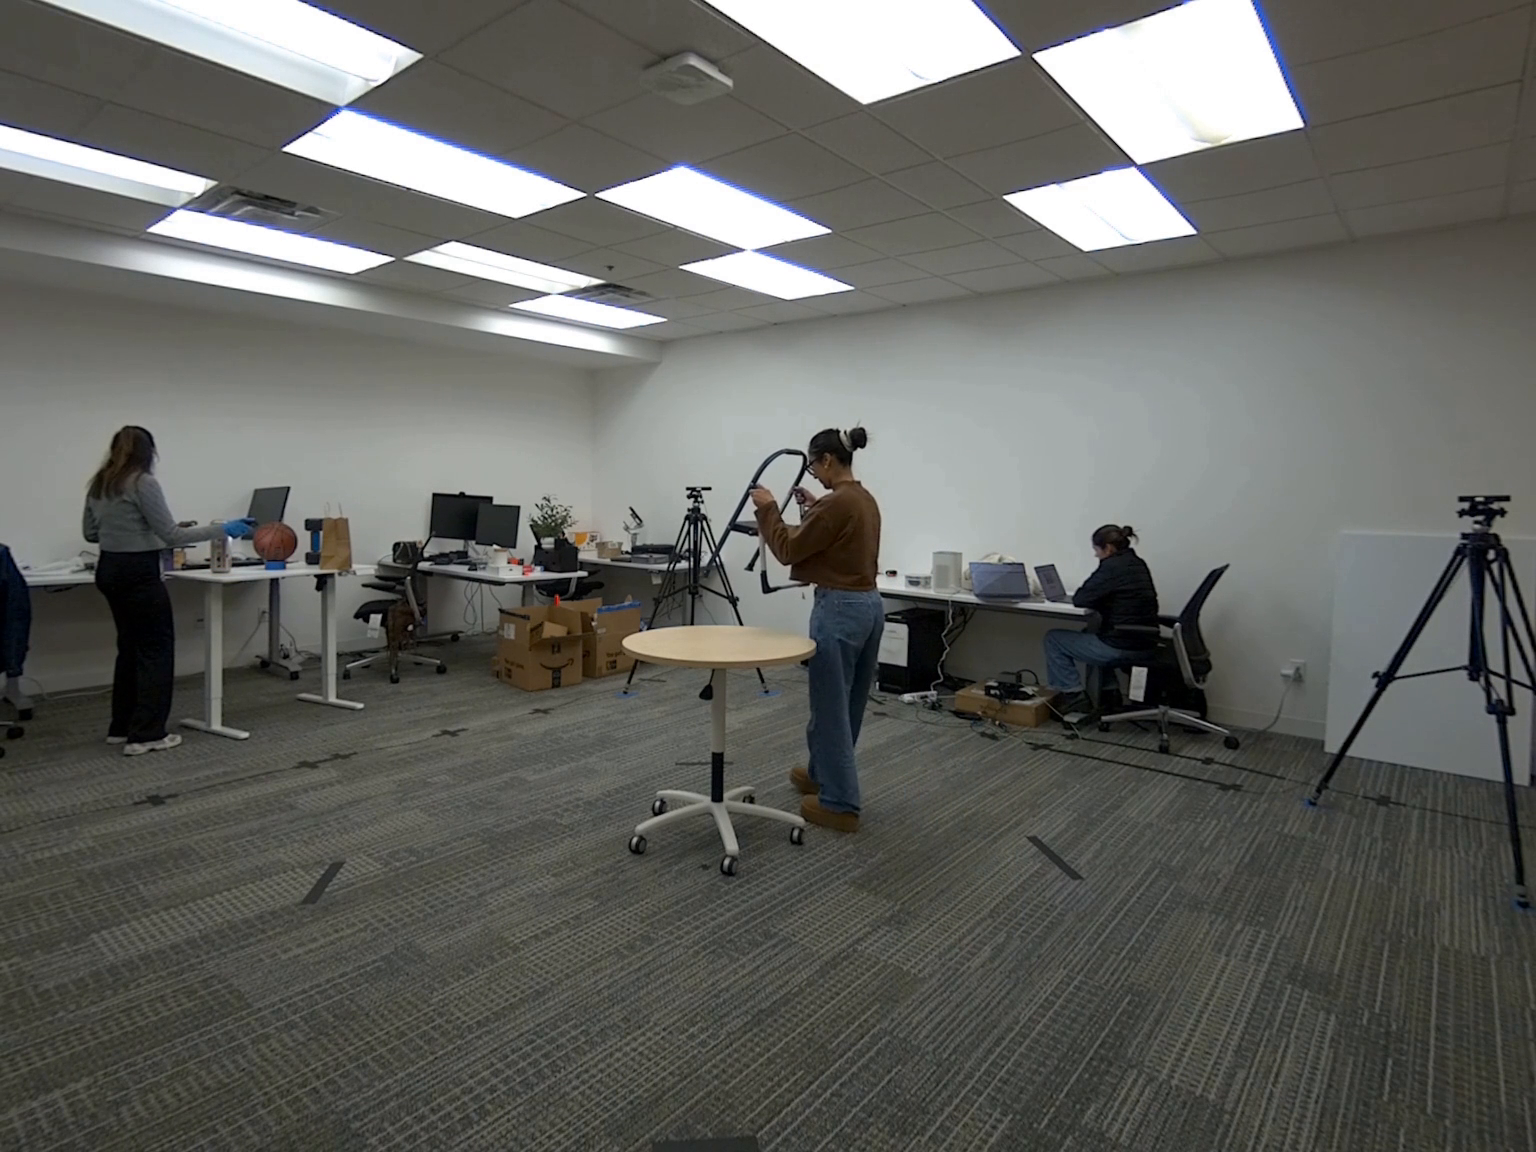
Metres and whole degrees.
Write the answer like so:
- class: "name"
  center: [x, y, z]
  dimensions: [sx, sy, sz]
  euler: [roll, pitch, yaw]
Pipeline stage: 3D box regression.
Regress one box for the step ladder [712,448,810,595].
- class: "step ladder"
  center: [-0.015, -0.275, 3.771]
  dimensions: [0.361, 0.602, 0.420]
  euler: [14, 11, 29]
